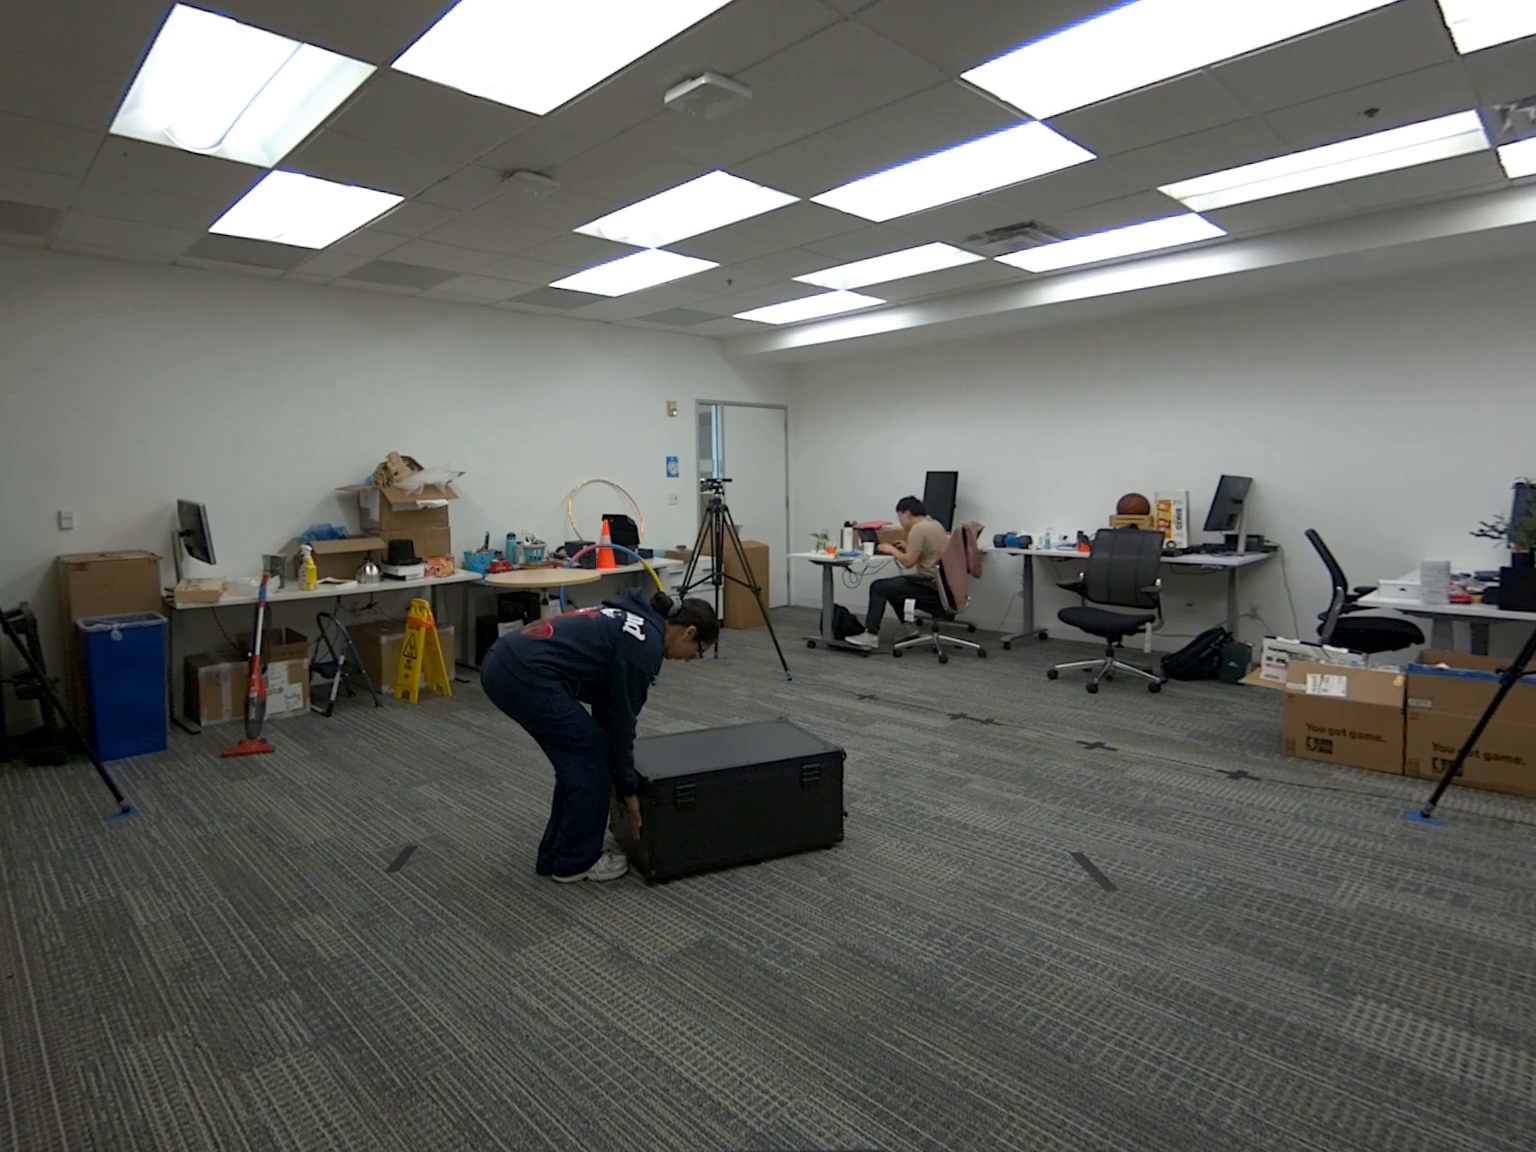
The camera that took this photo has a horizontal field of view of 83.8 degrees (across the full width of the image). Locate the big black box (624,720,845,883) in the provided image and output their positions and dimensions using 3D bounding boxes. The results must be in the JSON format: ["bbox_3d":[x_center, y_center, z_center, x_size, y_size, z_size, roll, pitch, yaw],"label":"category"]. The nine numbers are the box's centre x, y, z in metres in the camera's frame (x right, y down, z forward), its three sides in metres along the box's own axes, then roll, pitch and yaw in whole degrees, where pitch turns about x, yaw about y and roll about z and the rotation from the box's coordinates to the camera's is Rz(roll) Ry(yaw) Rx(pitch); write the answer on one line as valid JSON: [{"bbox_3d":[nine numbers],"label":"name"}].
[{"bbox_3d":[-0.137,0.843,3.325,0.844,0.519,0.406,-4,5,-24],"label":"big black box"}]
